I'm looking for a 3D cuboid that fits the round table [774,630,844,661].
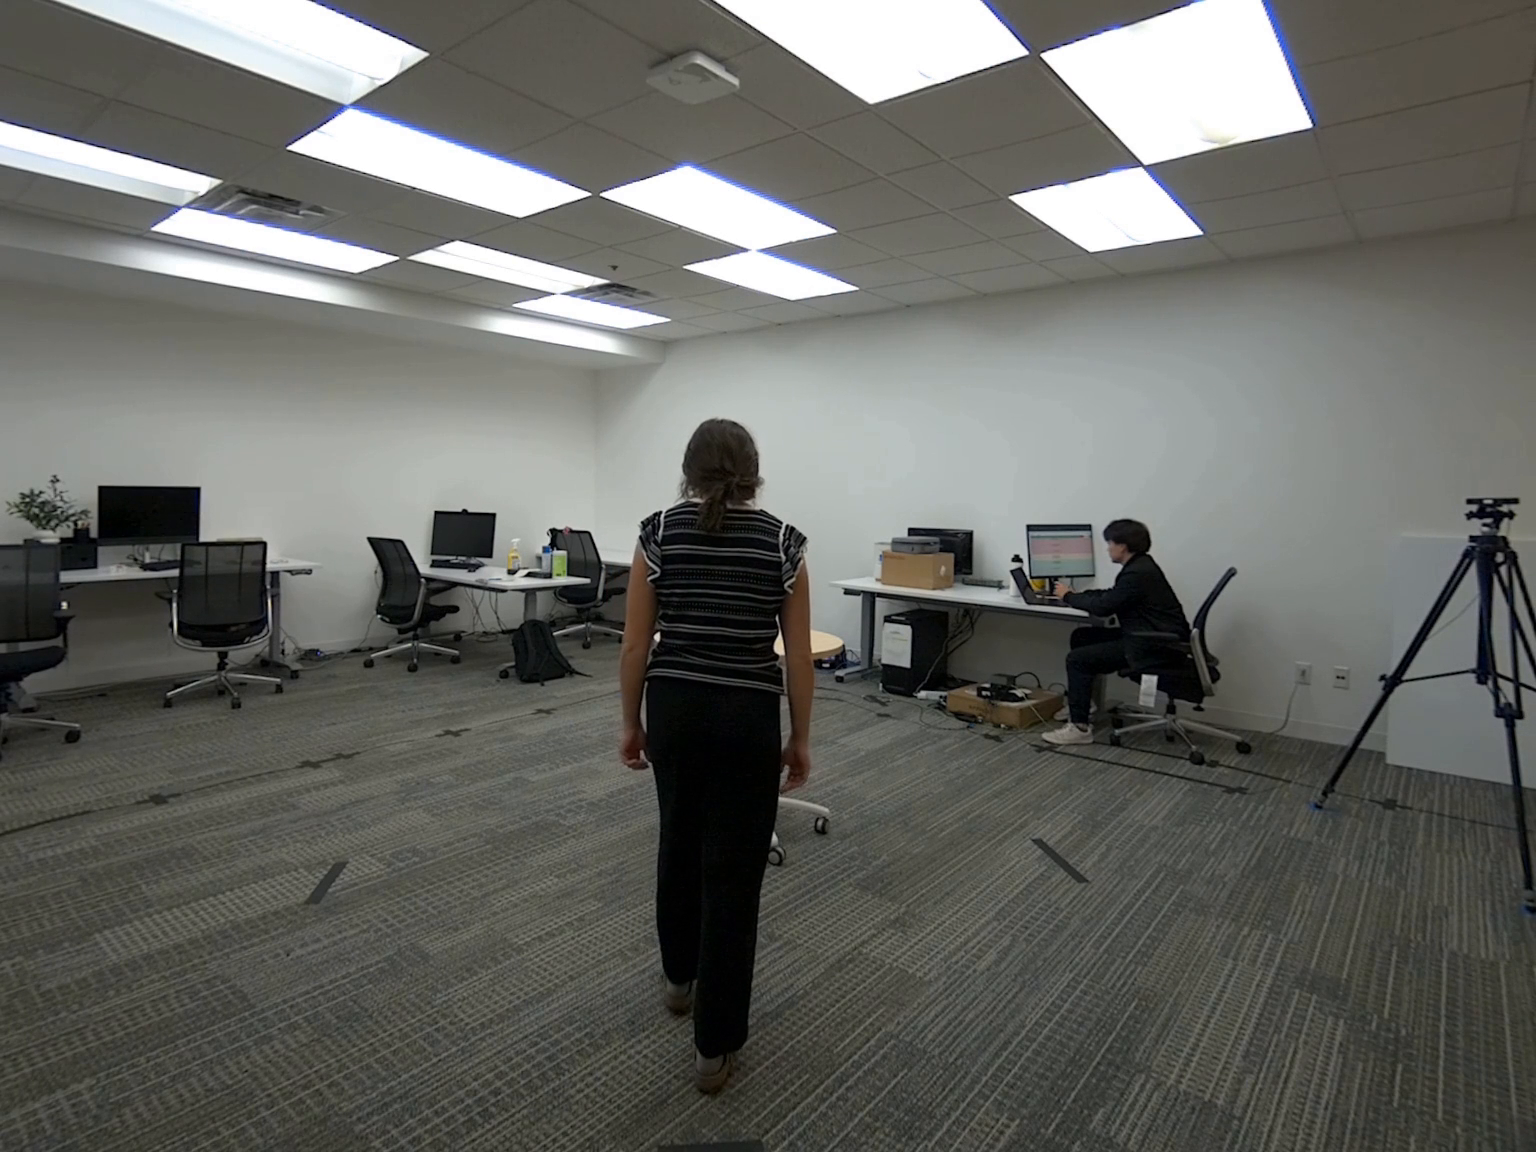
[{"bbox_3d":[-0.097,0.641,3.464,0.763,0.792,0.767,1,4,-2],"label":"round table"}]
